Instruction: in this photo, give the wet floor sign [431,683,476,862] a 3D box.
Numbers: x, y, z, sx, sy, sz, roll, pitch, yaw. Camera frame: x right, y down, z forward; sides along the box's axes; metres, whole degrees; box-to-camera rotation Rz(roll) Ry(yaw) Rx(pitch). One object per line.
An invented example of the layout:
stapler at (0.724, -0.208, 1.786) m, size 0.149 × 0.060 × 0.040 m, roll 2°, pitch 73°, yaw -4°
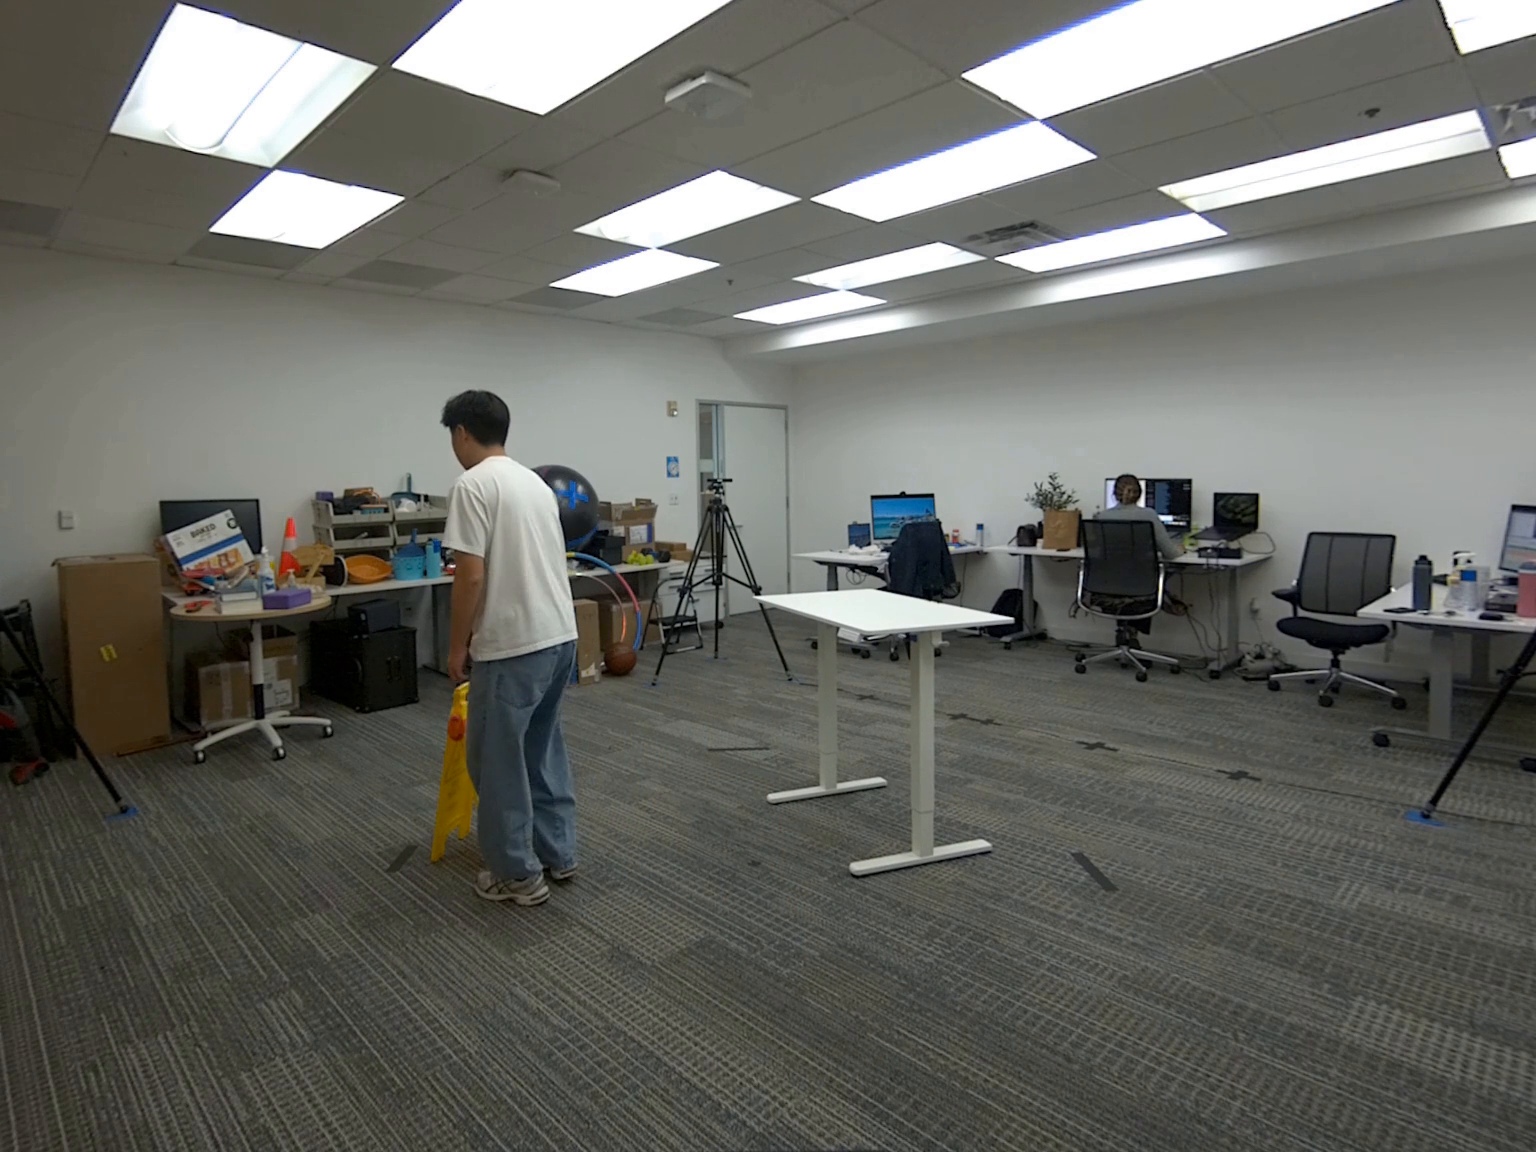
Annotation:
wet floor sign at (-1.118, 0.718, 3.261) m, size 0.292 × 0.645 × 0.280 m, roll -2°, pitch 2°, yaw 9°
